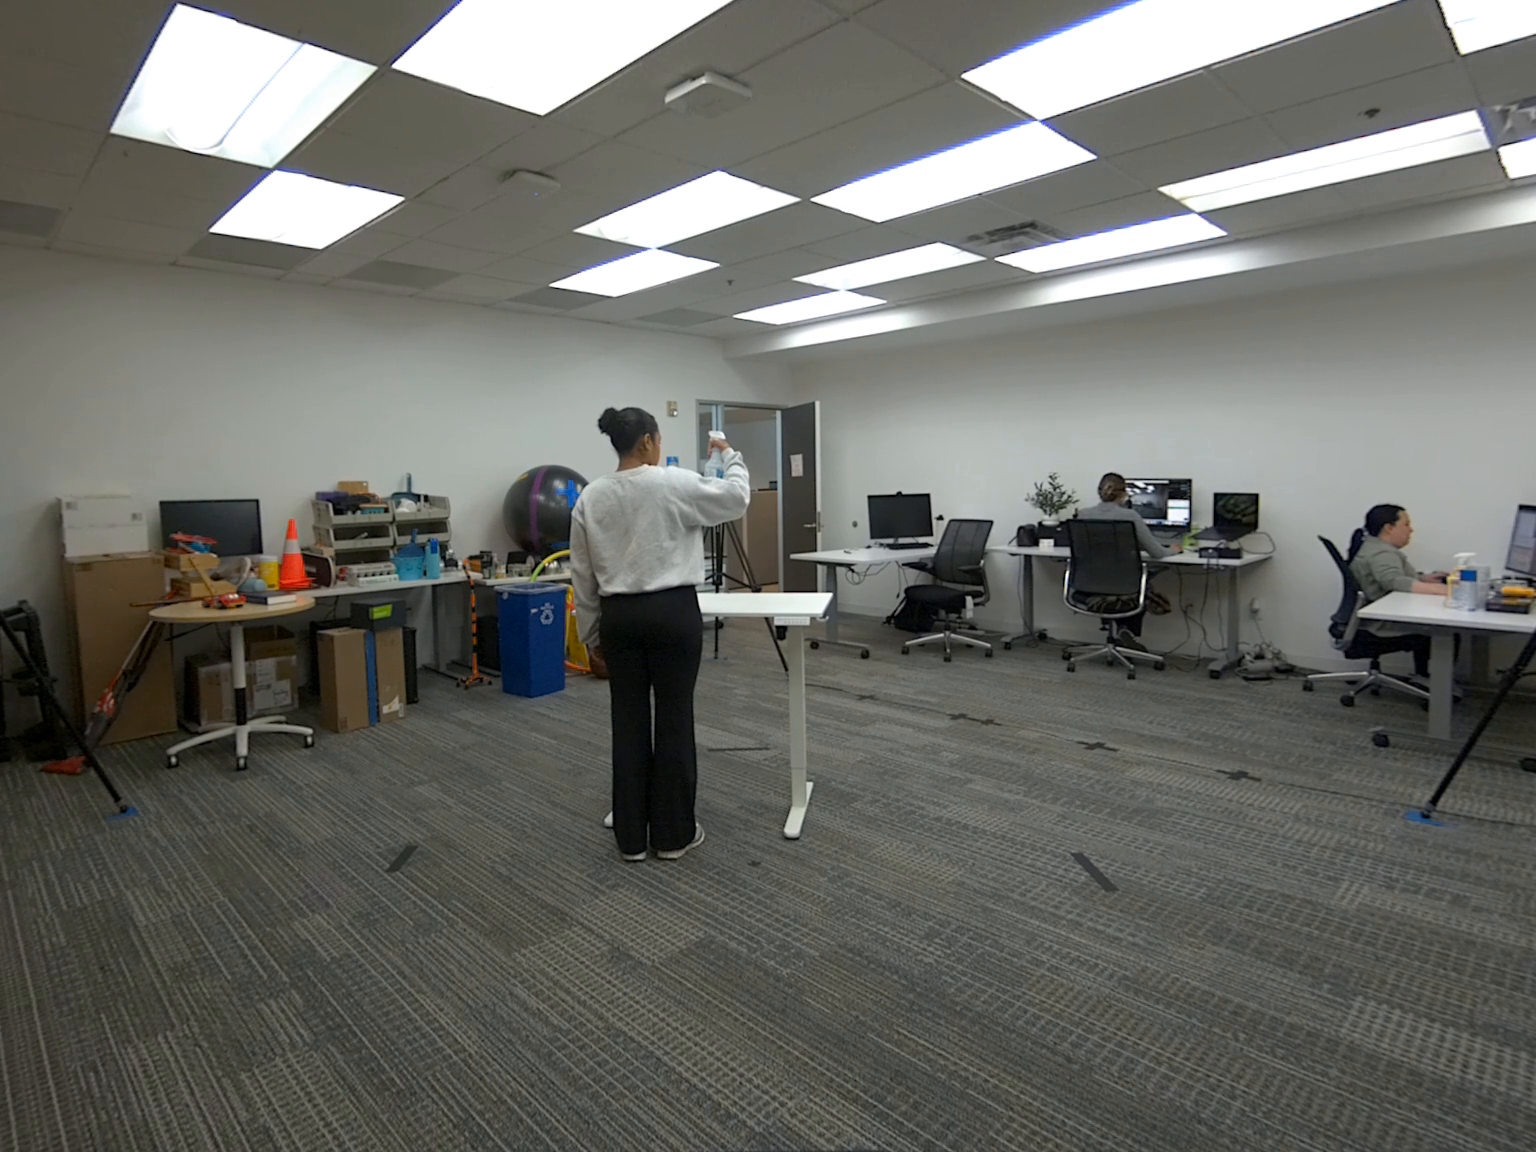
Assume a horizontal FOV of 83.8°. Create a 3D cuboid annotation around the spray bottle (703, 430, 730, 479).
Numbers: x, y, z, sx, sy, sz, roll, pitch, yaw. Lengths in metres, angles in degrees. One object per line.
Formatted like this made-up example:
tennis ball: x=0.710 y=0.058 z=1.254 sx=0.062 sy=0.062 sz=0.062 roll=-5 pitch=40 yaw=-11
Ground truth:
spray bottle: x=-0.202 y=-0.420 z=3.399 sx=0.085 sy=0.297 sz=0.092 roll=3 pitch=1 yaw=-20
